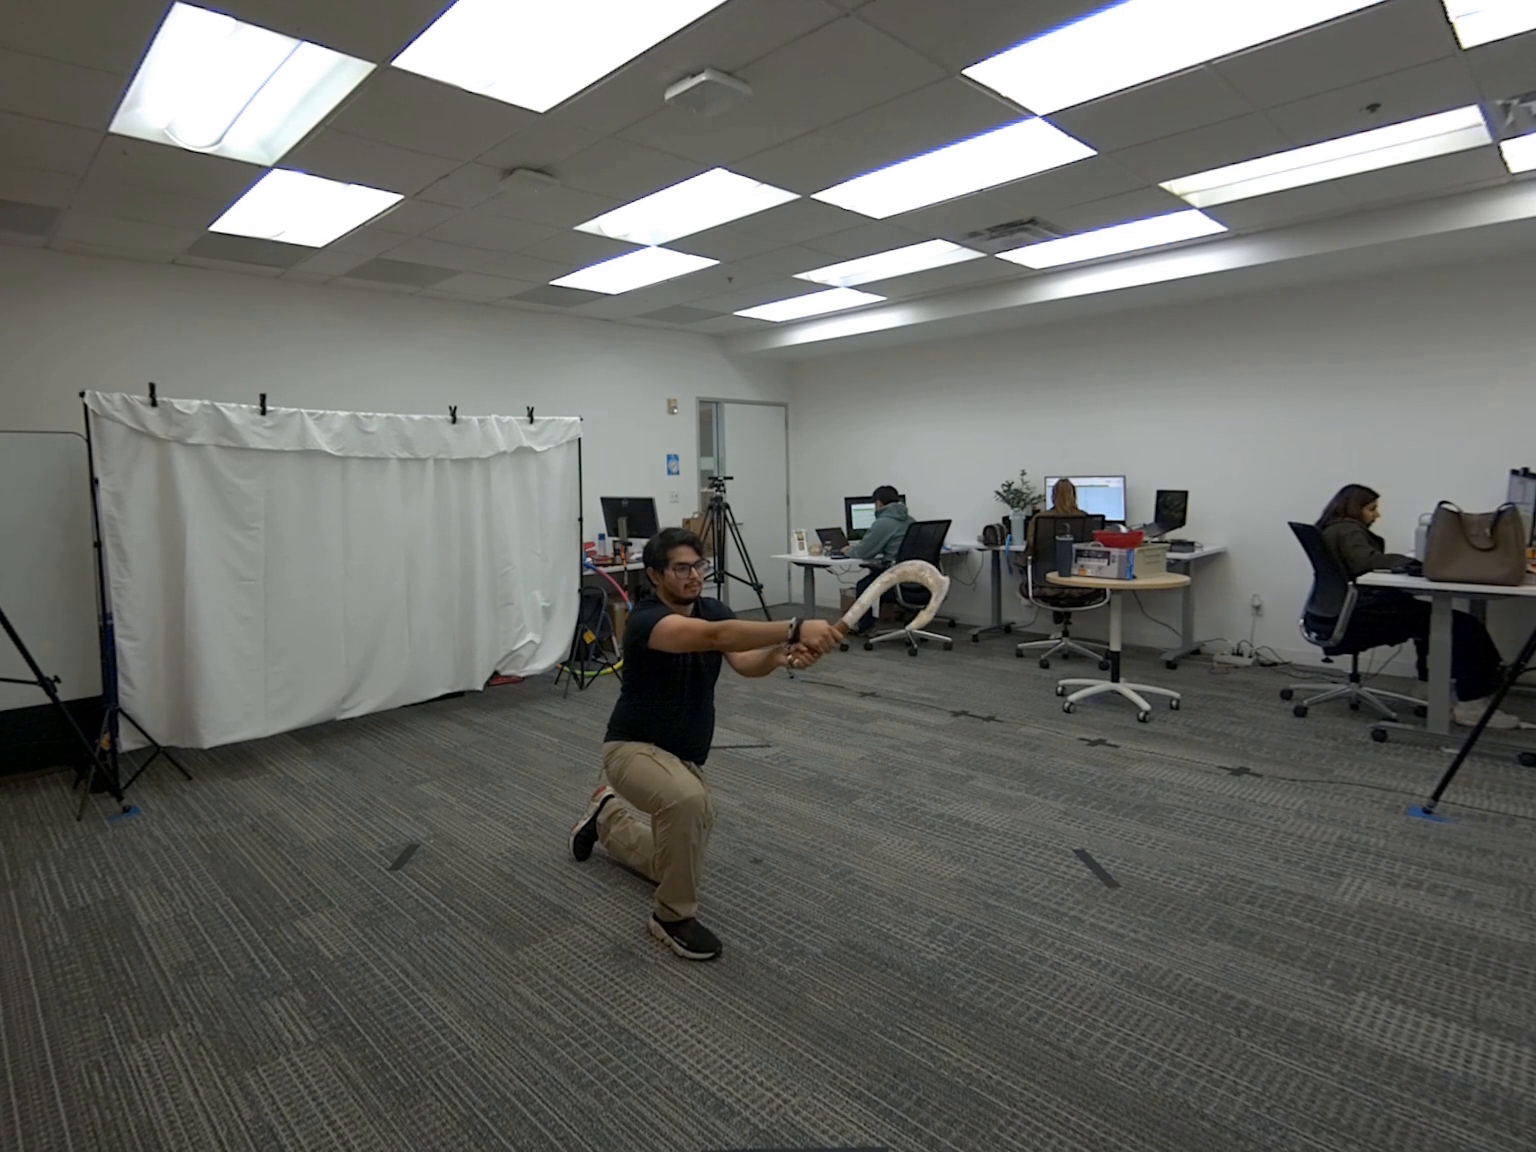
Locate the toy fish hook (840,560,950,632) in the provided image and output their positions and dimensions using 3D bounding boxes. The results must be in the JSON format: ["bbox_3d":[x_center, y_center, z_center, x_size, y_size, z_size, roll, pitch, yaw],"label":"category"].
[{"bbox_3d":[0.291,0.137,2.406,0.506,0.046,0.233,-37,41,-6],"label":"toy fish hook"}]
